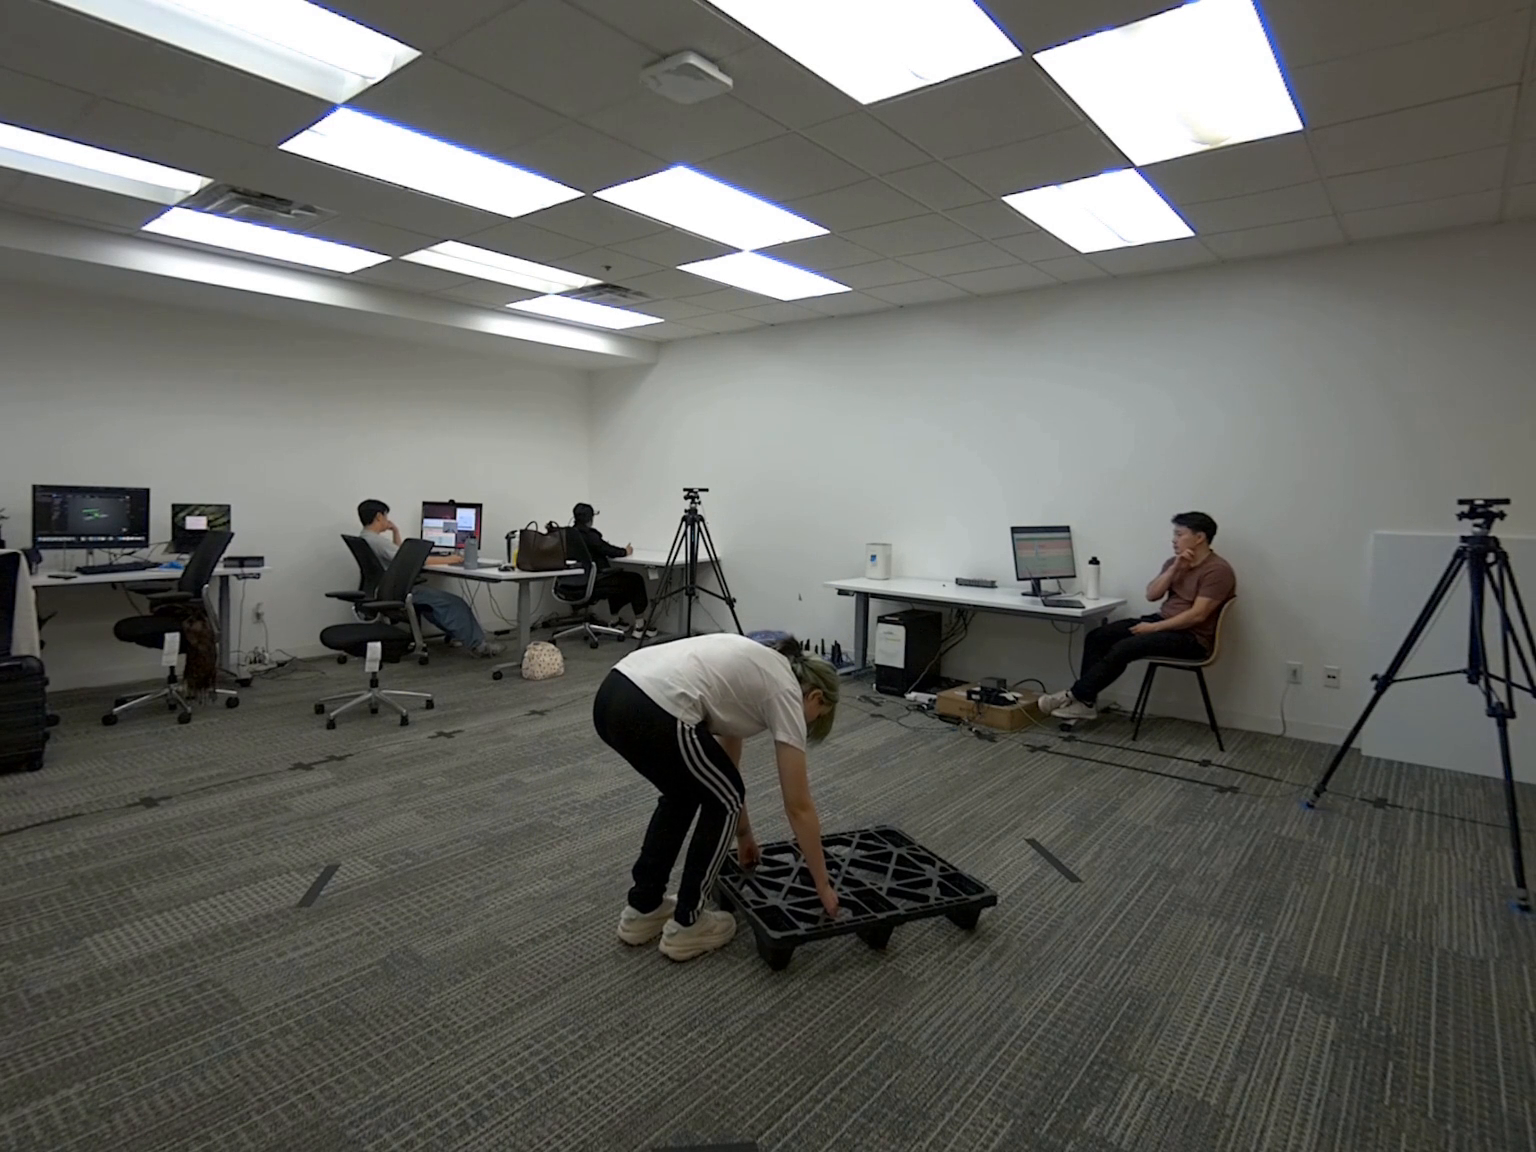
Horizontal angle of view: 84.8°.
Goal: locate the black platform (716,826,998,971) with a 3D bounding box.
[{"bbox_3d":[0.237,1.039,2.806,0.787,0.143,0.621,-1,6,-24],"label":"black platform"}]
